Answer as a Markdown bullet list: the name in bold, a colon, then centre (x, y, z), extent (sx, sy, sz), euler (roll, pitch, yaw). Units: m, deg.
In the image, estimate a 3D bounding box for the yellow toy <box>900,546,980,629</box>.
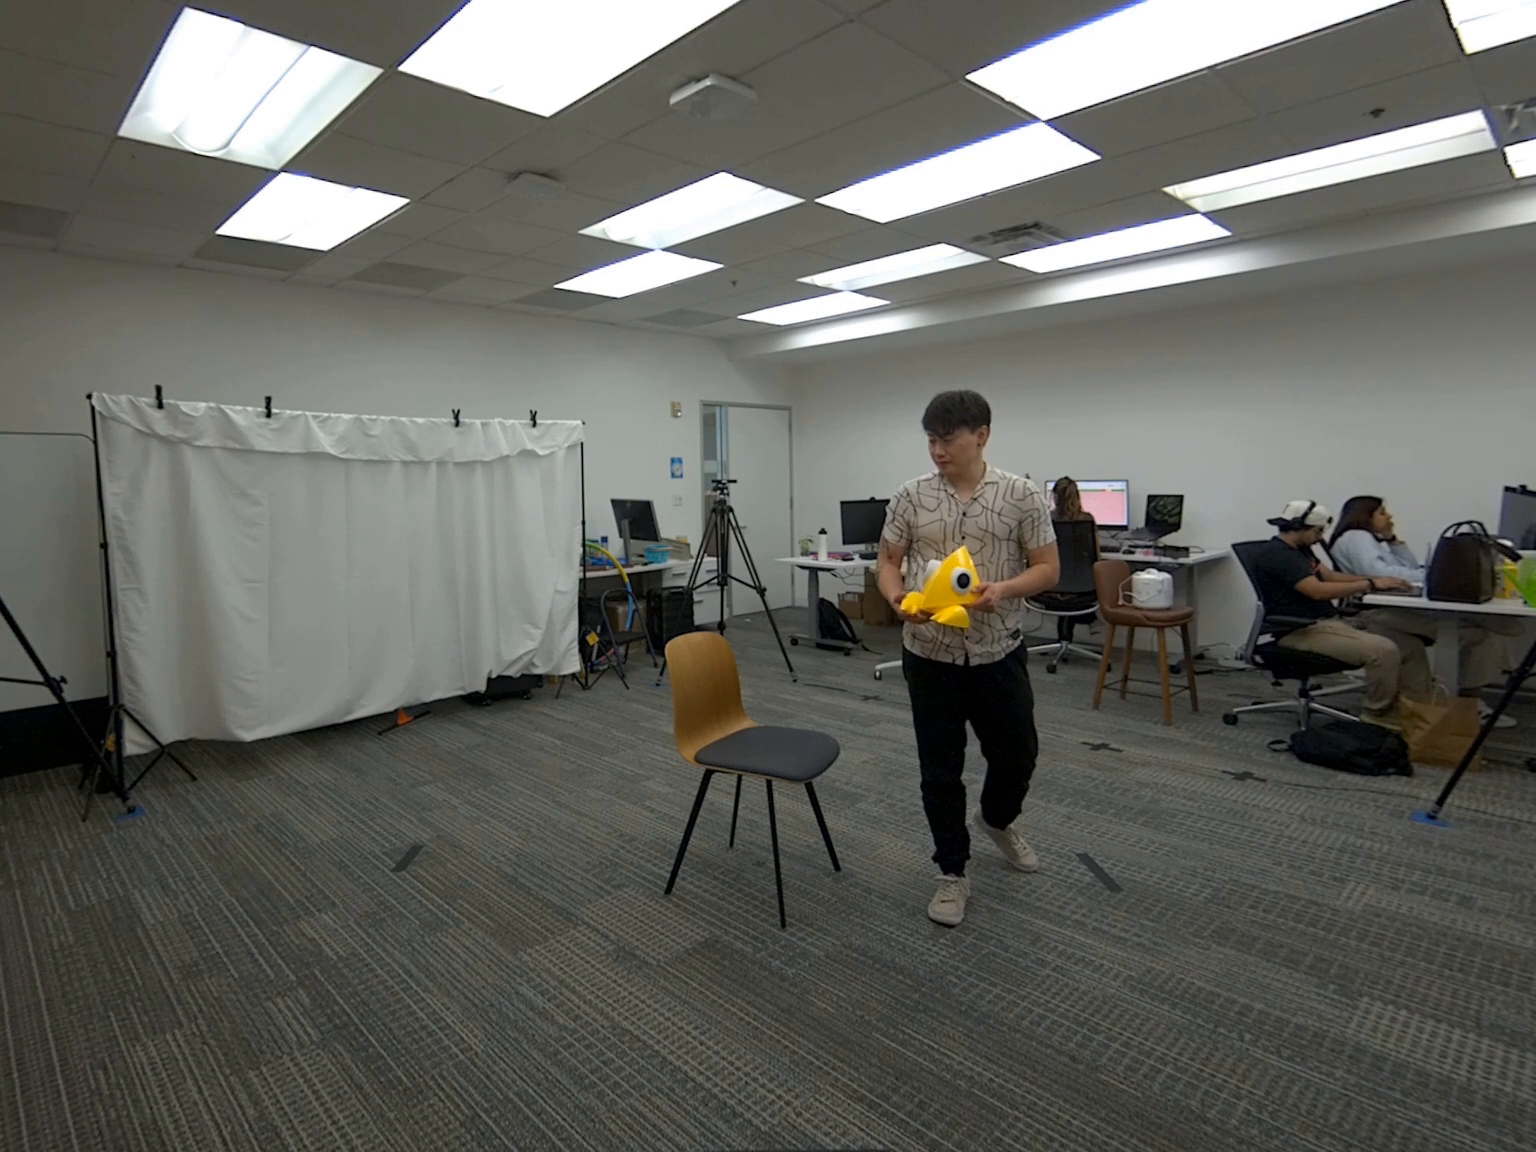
- **yellow toy**: centre (0.542, 0.017, 2.574), extent (0.187, 0.230, 0.212), euler (10, 7, -46)
